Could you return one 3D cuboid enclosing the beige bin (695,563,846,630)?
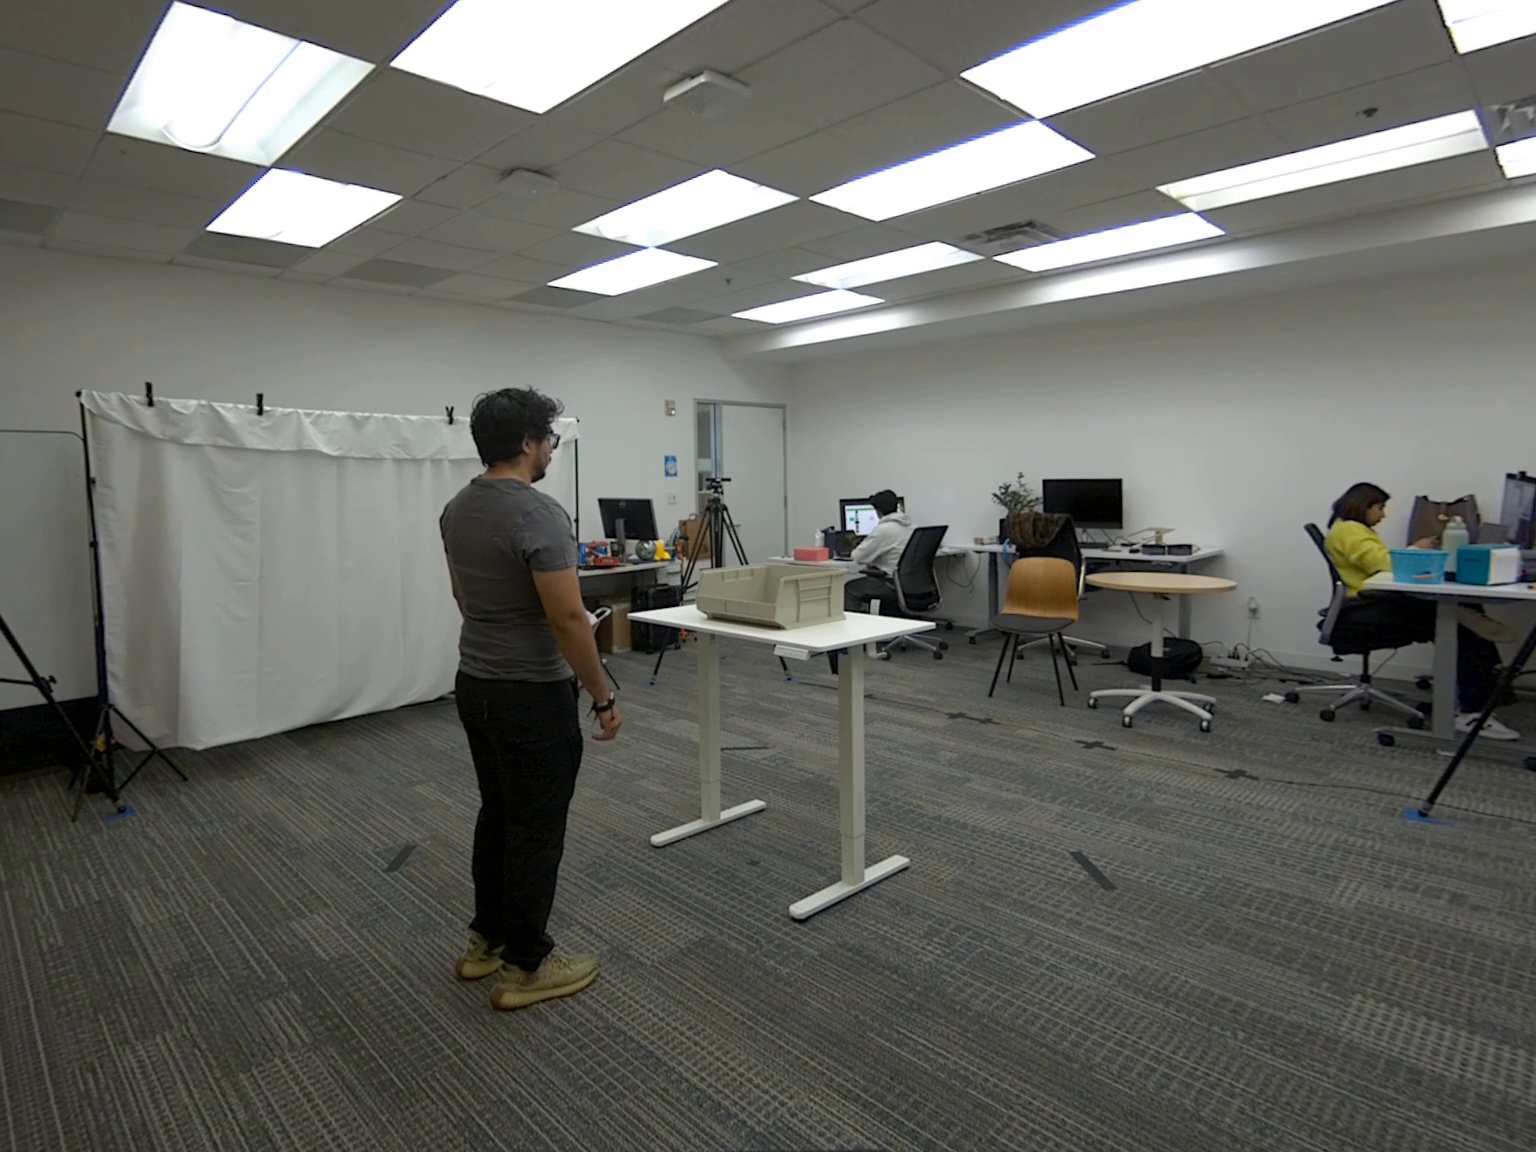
[{"bbox_3d":[0.013,0.069,3.098,0.367,0.188,0.435,-5,6,-43],"label":"beige bin"}]
